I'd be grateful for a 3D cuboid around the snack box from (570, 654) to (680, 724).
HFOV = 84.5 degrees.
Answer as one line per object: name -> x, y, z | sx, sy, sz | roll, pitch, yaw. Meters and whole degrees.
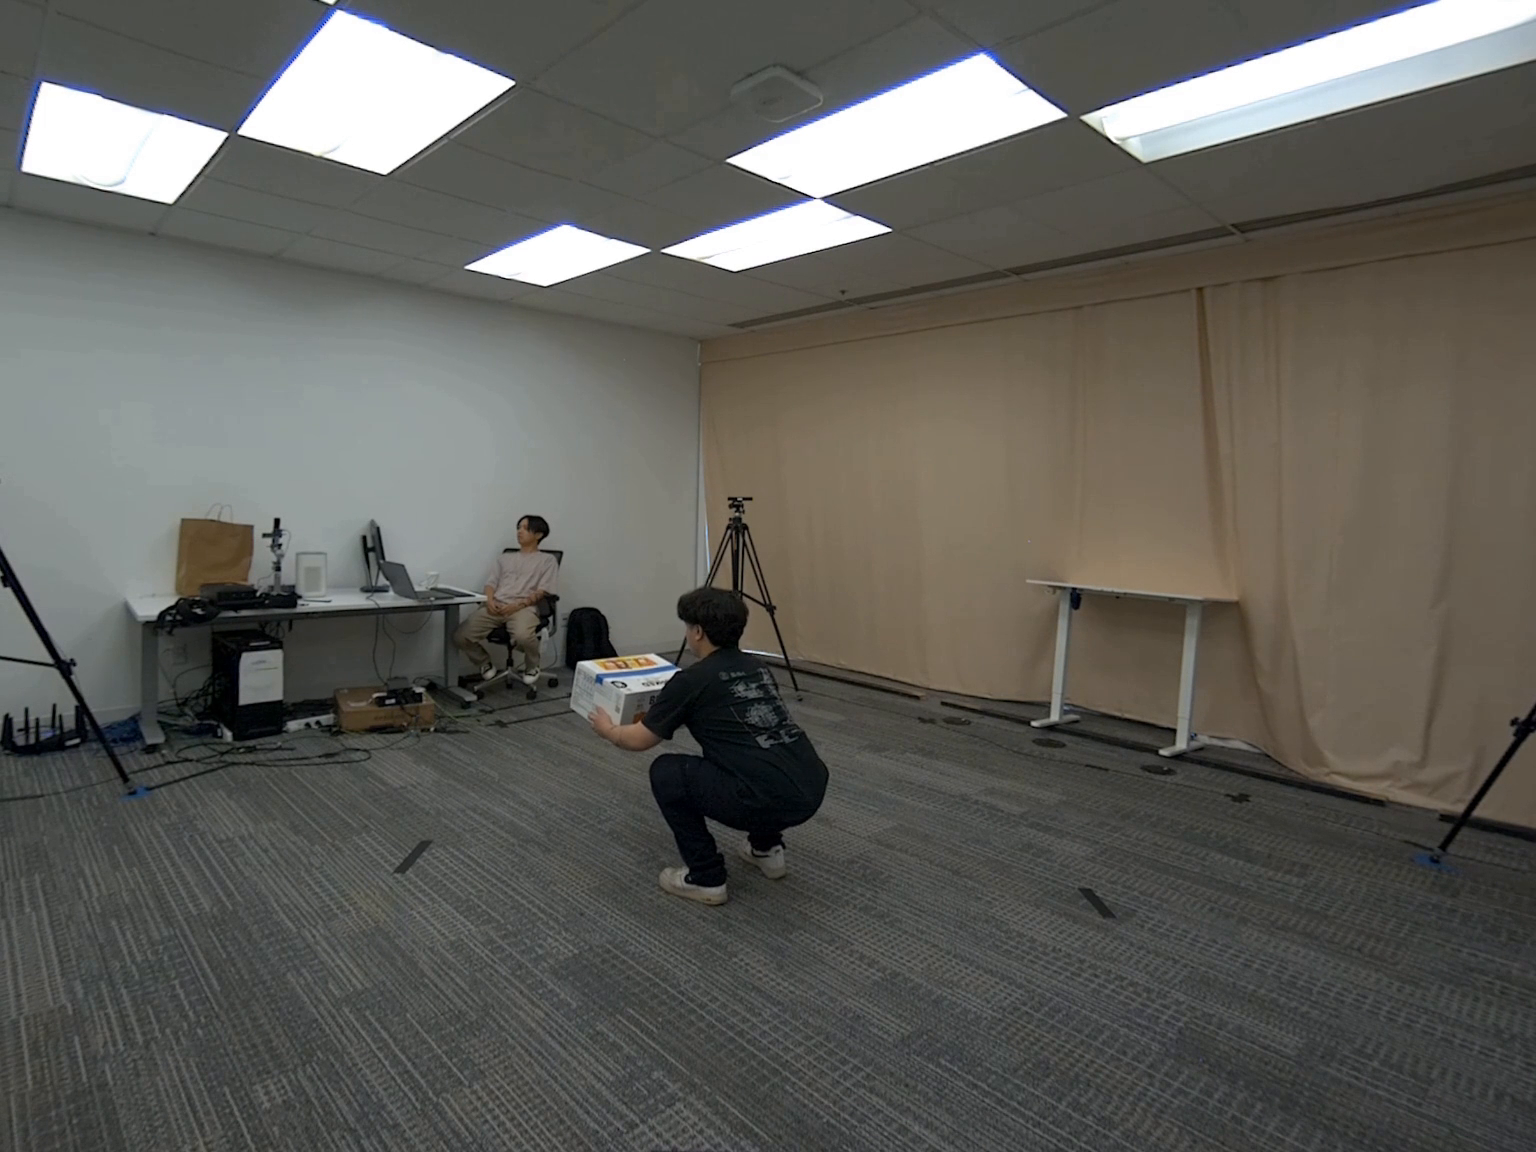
snack box -> -0.551, 0.489, 3.471 | 0.395, 0.204, 0.350 | -1, 17, -46
